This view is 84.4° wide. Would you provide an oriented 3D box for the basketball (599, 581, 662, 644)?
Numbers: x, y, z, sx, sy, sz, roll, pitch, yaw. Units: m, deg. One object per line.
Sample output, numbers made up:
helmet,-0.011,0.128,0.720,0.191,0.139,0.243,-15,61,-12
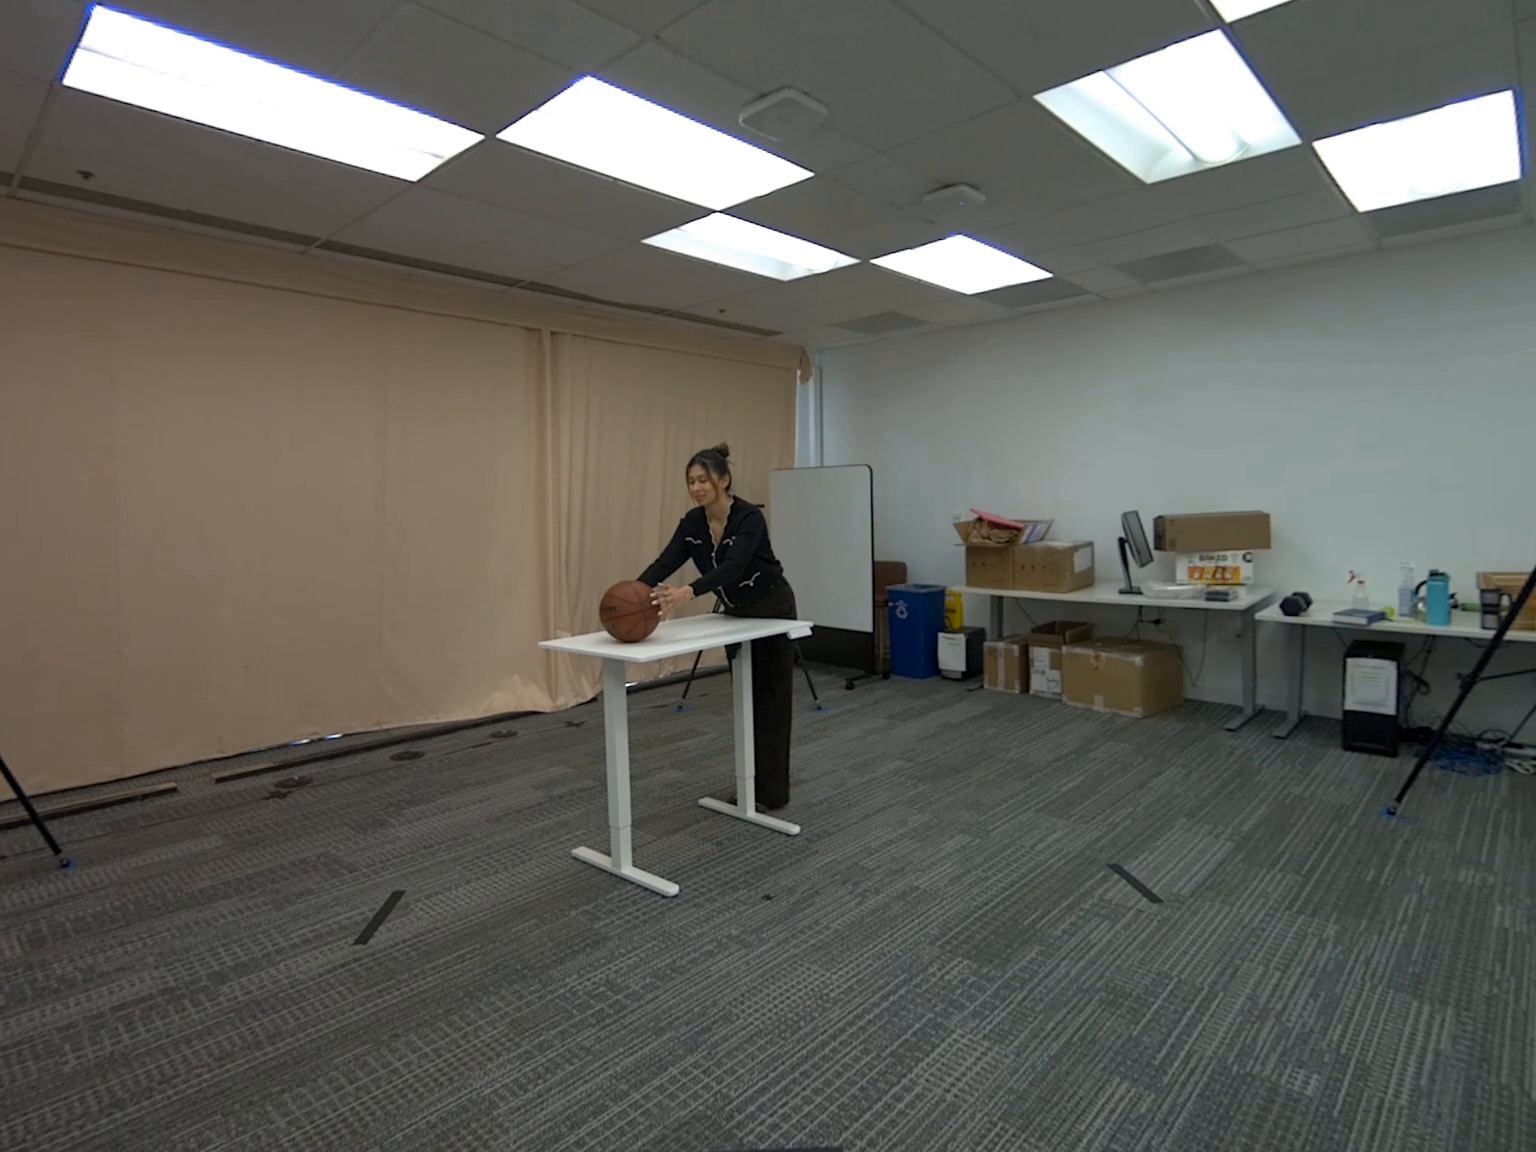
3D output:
basketball,-0.517,0.134,3.221,0.236,0.235,0.237,-1,4,-2
